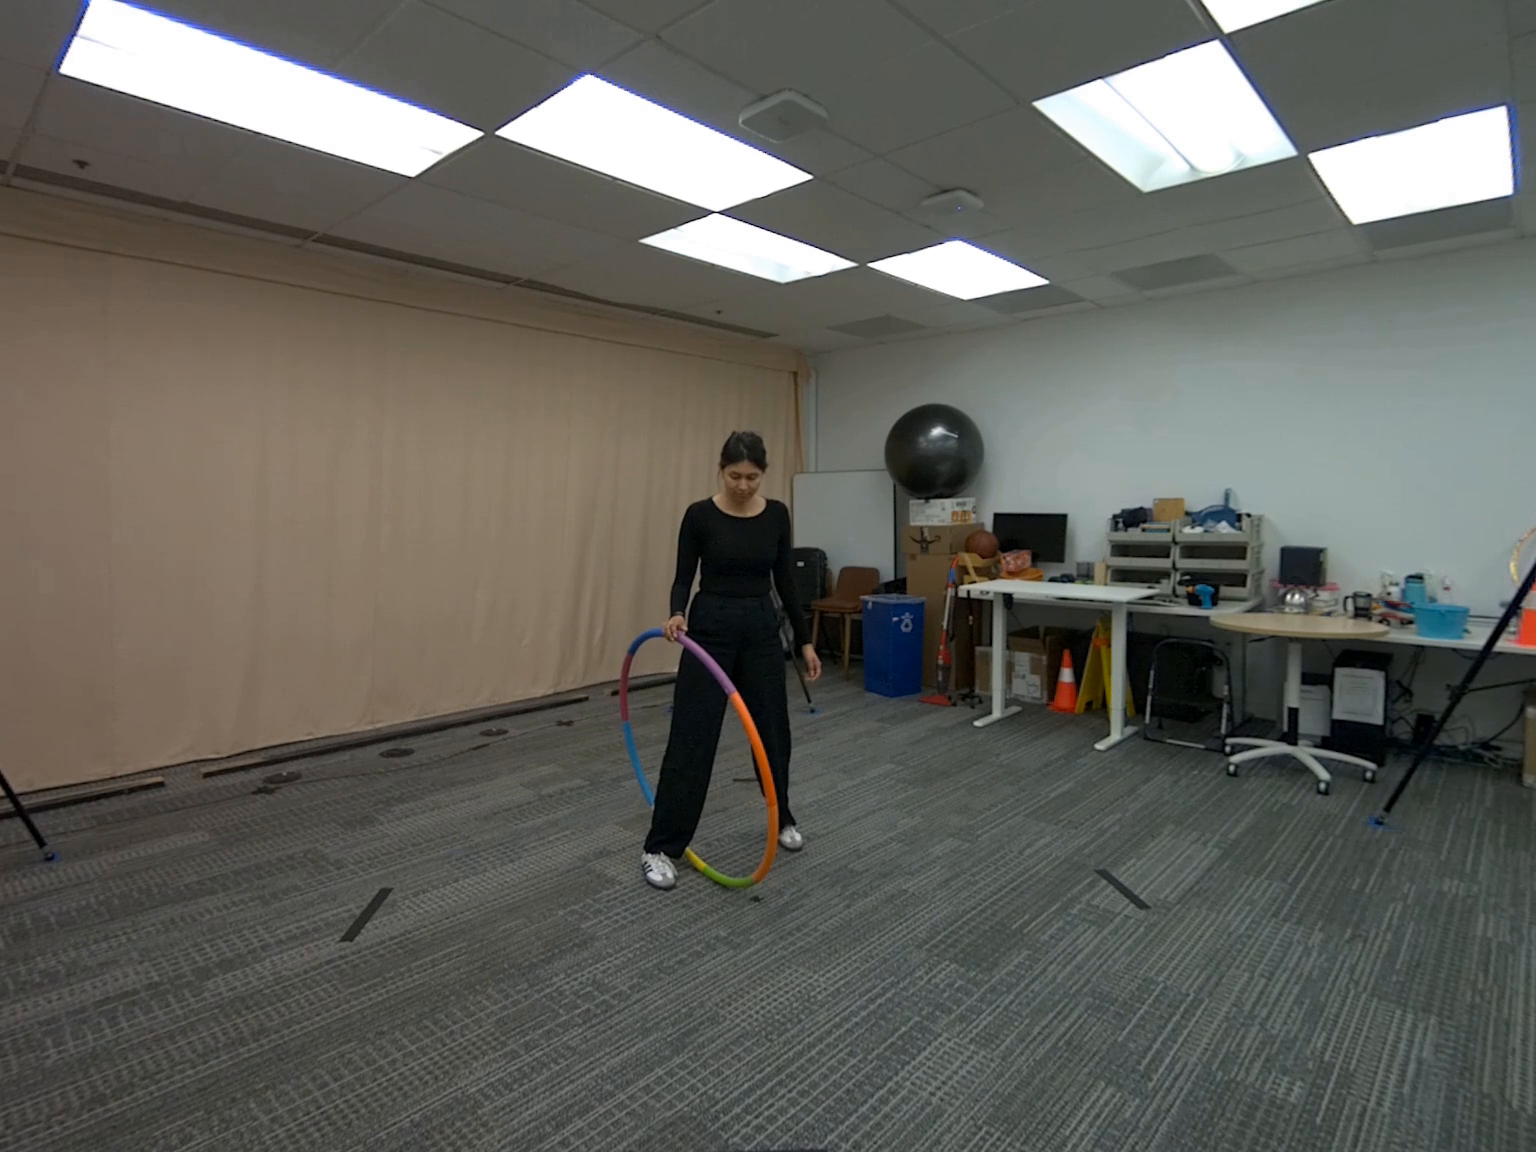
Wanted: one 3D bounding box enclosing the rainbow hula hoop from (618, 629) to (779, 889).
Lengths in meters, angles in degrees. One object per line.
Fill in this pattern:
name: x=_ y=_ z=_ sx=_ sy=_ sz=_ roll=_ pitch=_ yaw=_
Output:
rainbow hula hoop: x=-0.277 y=0.658 z=3.086 sx=0.035 sy=0.972 sz=1.010 roll=-14 pitch=11 yaw=-34
